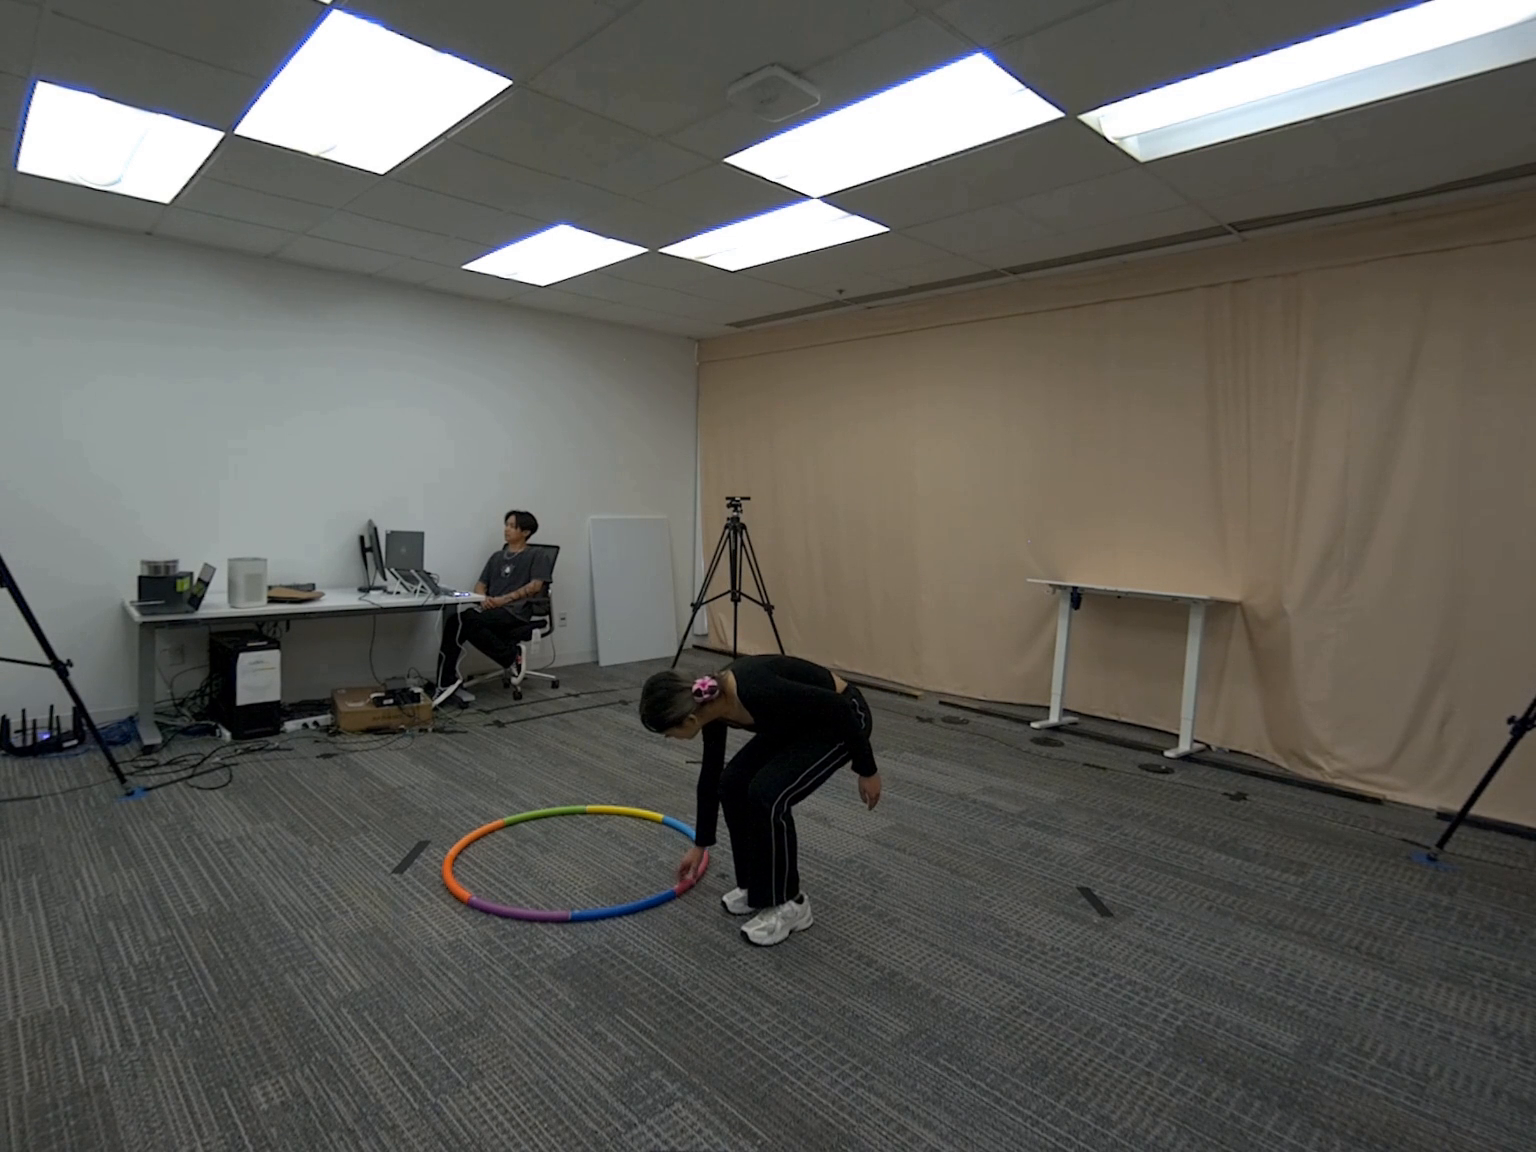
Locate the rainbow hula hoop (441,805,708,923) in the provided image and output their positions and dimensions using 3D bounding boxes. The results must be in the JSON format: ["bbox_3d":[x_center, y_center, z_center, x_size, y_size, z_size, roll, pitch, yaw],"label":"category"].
[{"bbox_3d":[-0.721,1.054,3.215,0.978,0.035,0.982,2,5,-1],"label":"rainbow hula hoop"}]
